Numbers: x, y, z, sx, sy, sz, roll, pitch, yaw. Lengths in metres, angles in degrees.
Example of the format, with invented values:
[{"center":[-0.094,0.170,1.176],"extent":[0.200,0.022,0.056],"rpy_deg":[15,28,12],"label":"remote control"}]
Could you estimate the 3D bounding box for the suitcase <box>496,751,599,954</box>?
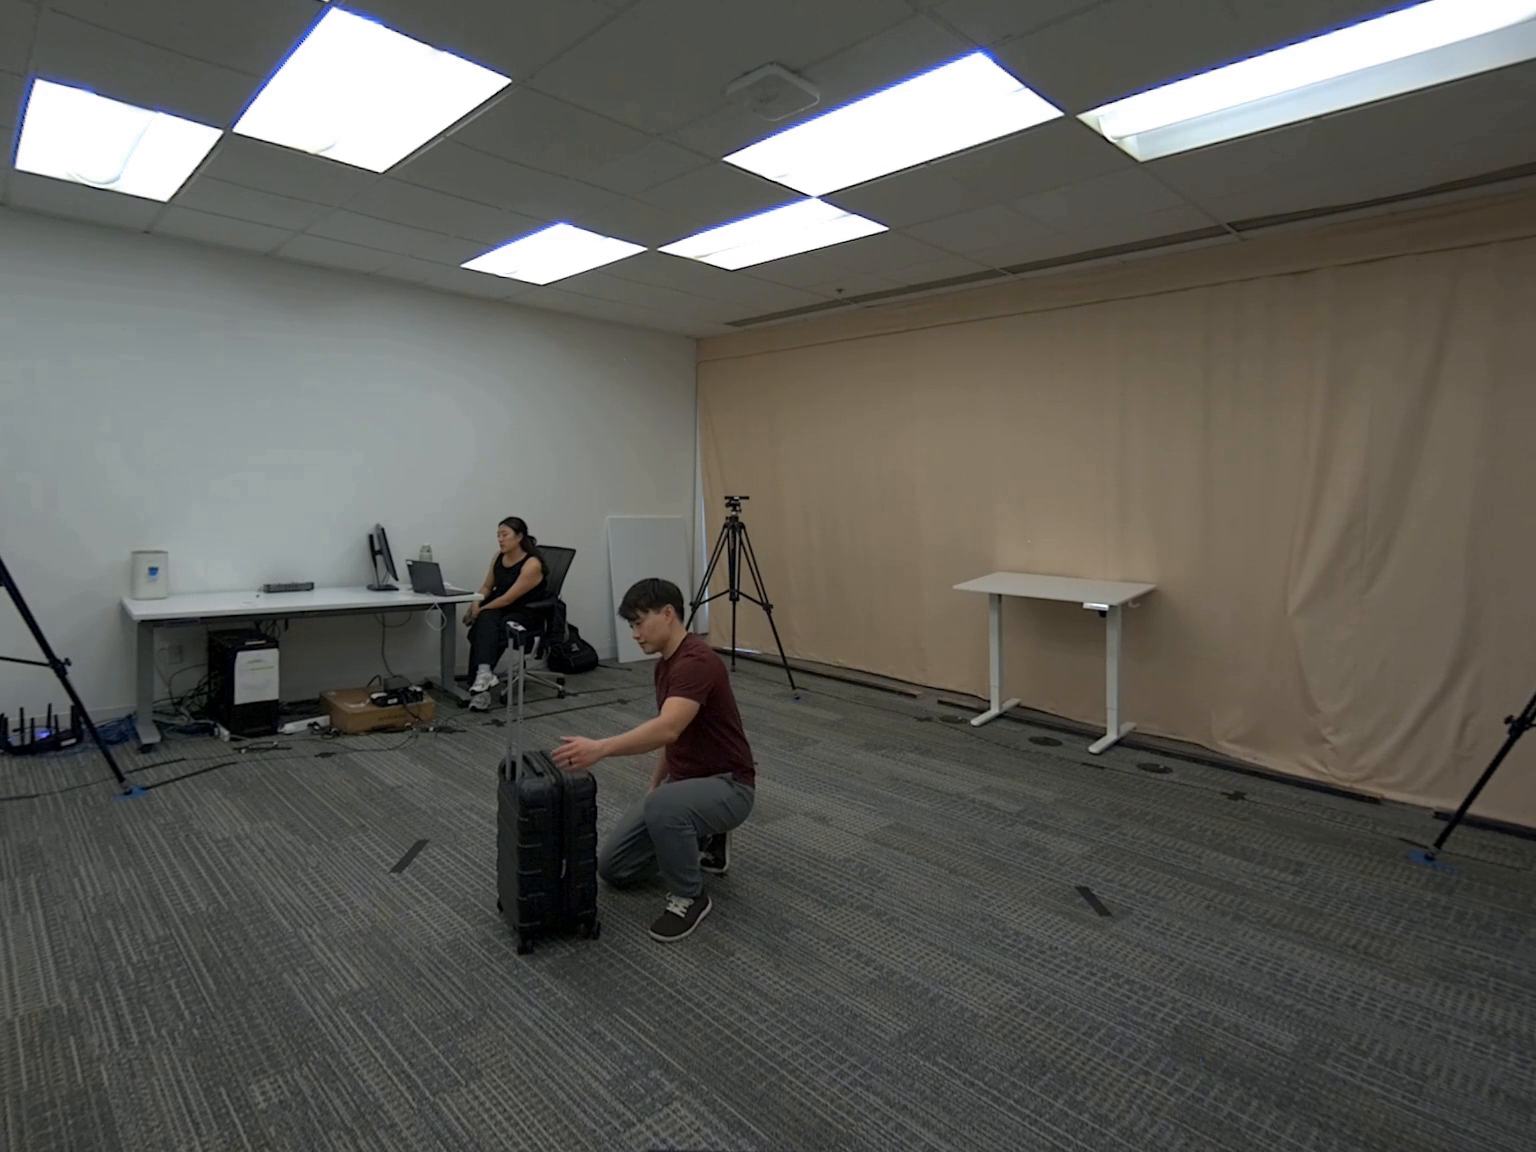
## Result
[{"center":[-0.706,0.646,2.679],"extent":[0.252,0.975,0.392],"rpy_deg":[-1,5,-27],"label":"suitcase"}]
